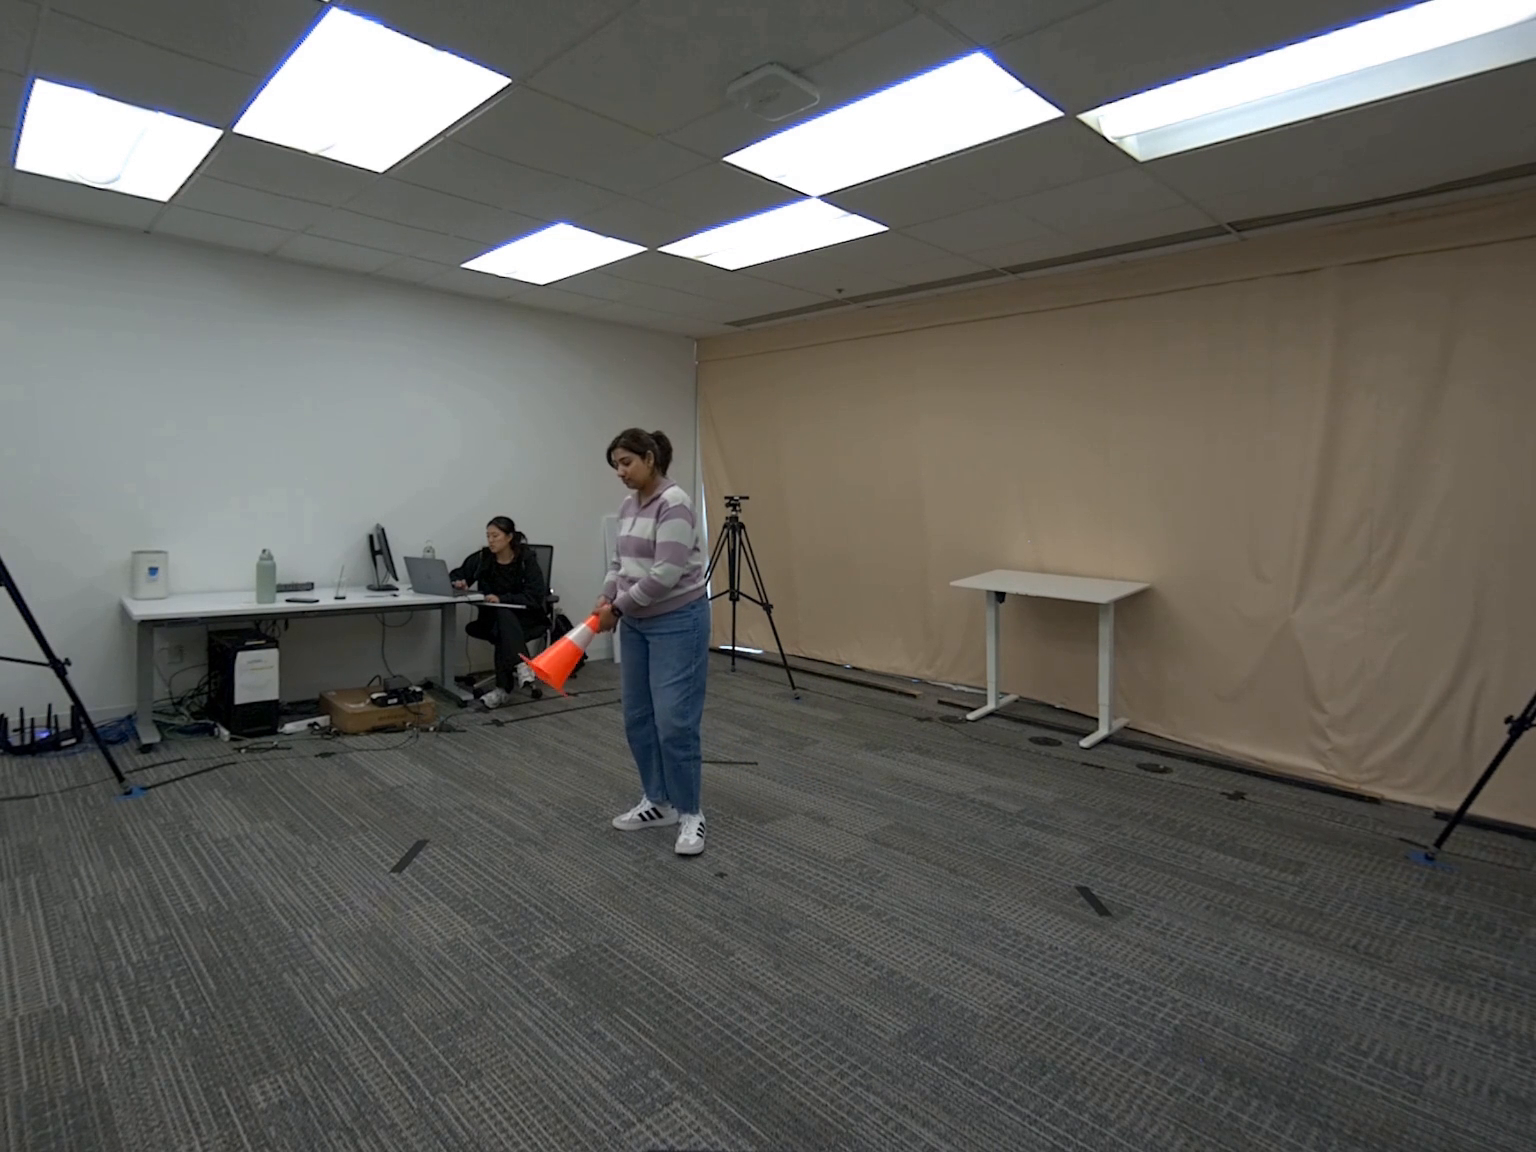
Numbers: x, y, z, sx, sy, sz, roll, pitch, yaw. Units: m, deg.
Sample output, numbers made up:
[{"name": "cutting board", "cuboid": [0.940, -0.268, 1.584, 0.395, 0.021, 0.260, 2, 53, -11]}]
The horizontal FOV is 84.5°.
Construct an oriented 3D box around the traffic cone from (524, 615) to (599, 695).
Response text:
[{"name": "traffic cone", "cuboid": [-0.768, 0.258, 3.385, 0.211, 0.384, 0.197, 24, -24, 35]}]
